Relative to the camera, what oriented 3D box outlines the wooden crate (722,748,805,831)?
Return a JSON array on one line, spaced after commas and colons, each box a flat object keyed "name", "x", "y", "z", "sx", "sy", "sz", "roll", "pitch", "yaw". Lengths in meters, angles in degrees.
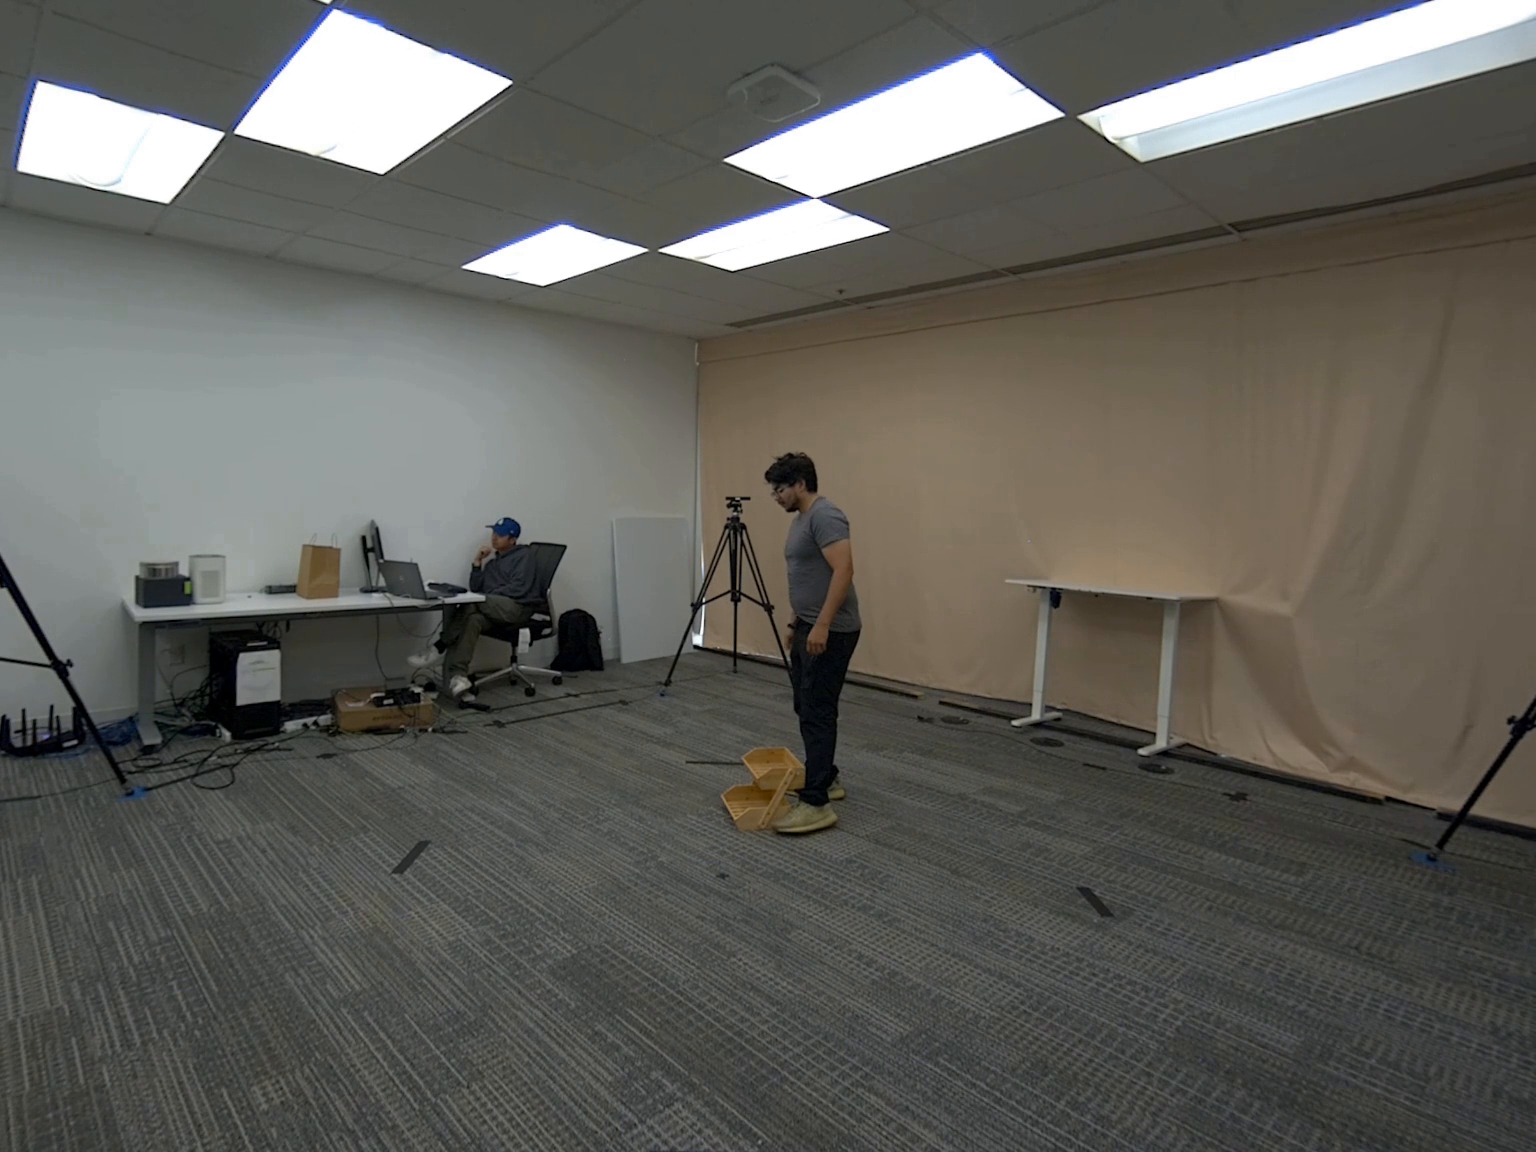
[{"name": "wooden crate", "x": -0.041, "y": 0.924, "z": 3.708, "sx": 0.299, "sy": 0.273, "sz": 0.329, "roll": 1, "pitch": 4, "yaw": -14}]
